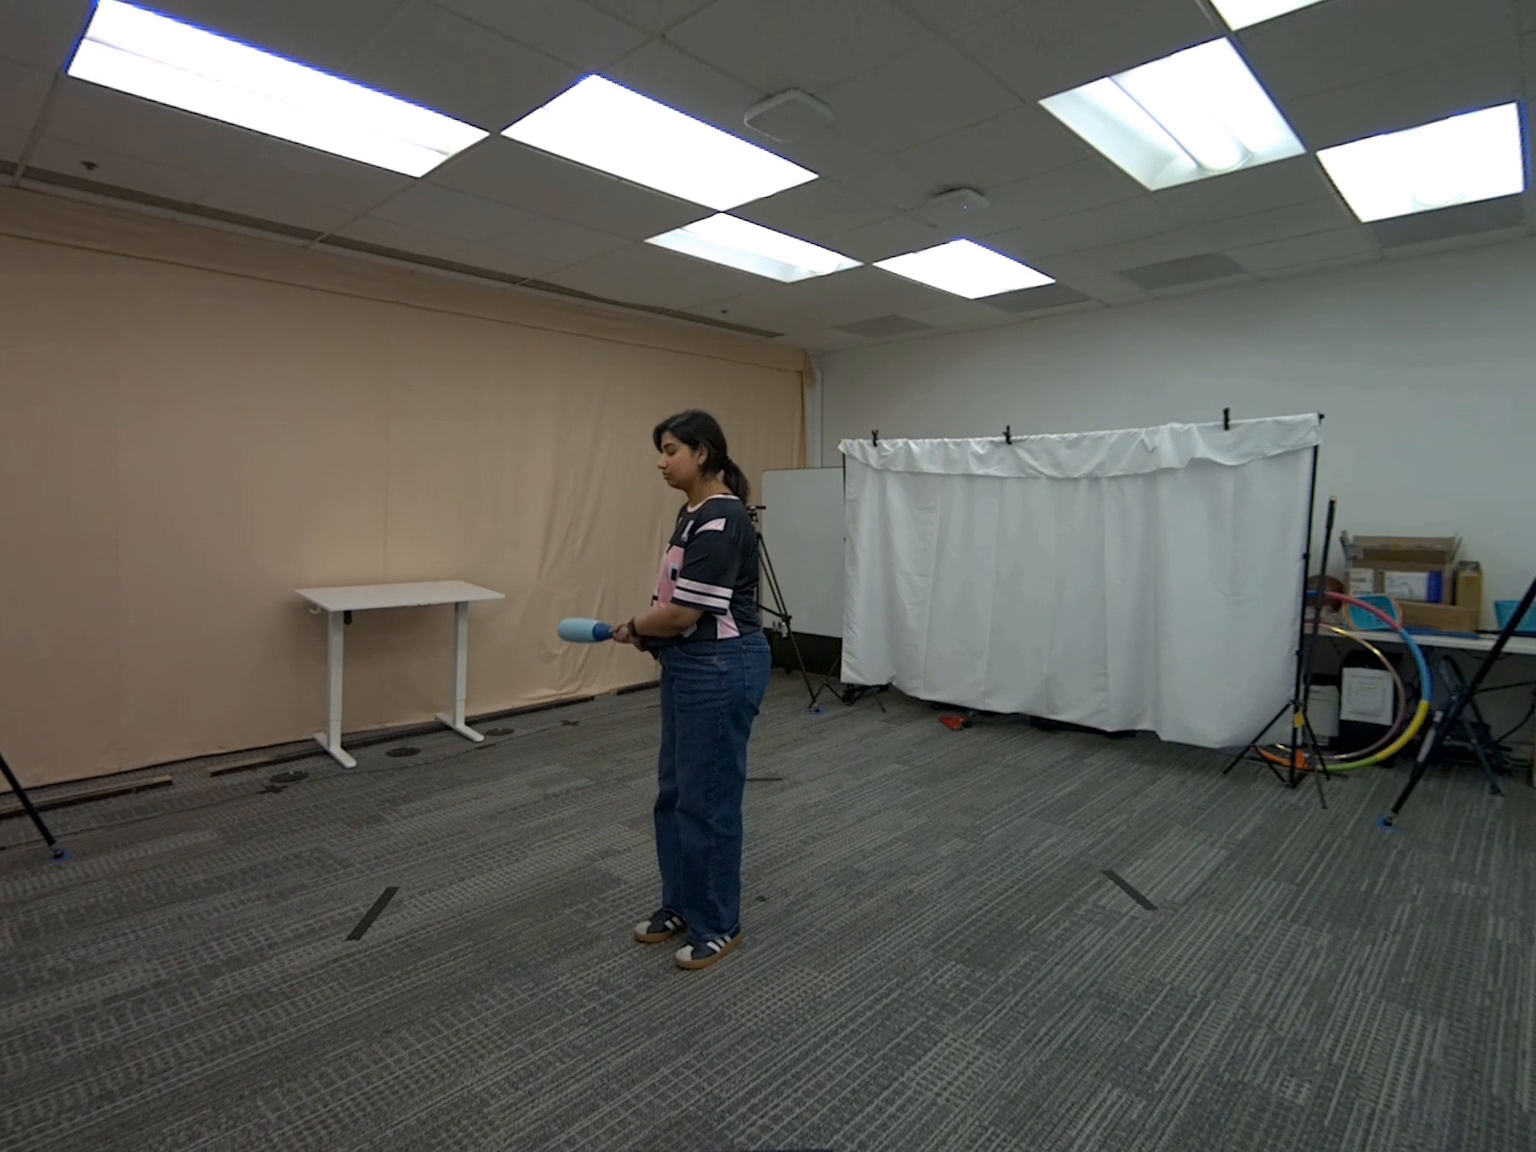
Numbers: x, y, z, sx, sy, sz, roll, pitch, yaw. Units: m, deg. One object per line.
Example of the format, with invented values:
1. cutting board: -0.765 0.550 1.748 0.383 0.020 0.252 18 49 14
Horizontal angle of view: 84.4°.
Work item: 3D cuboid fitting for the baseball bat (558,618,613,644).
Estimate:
1. baseball bat: -0.564 0.201 2.924 0.086 0.089 0.560 -3 1 -40
